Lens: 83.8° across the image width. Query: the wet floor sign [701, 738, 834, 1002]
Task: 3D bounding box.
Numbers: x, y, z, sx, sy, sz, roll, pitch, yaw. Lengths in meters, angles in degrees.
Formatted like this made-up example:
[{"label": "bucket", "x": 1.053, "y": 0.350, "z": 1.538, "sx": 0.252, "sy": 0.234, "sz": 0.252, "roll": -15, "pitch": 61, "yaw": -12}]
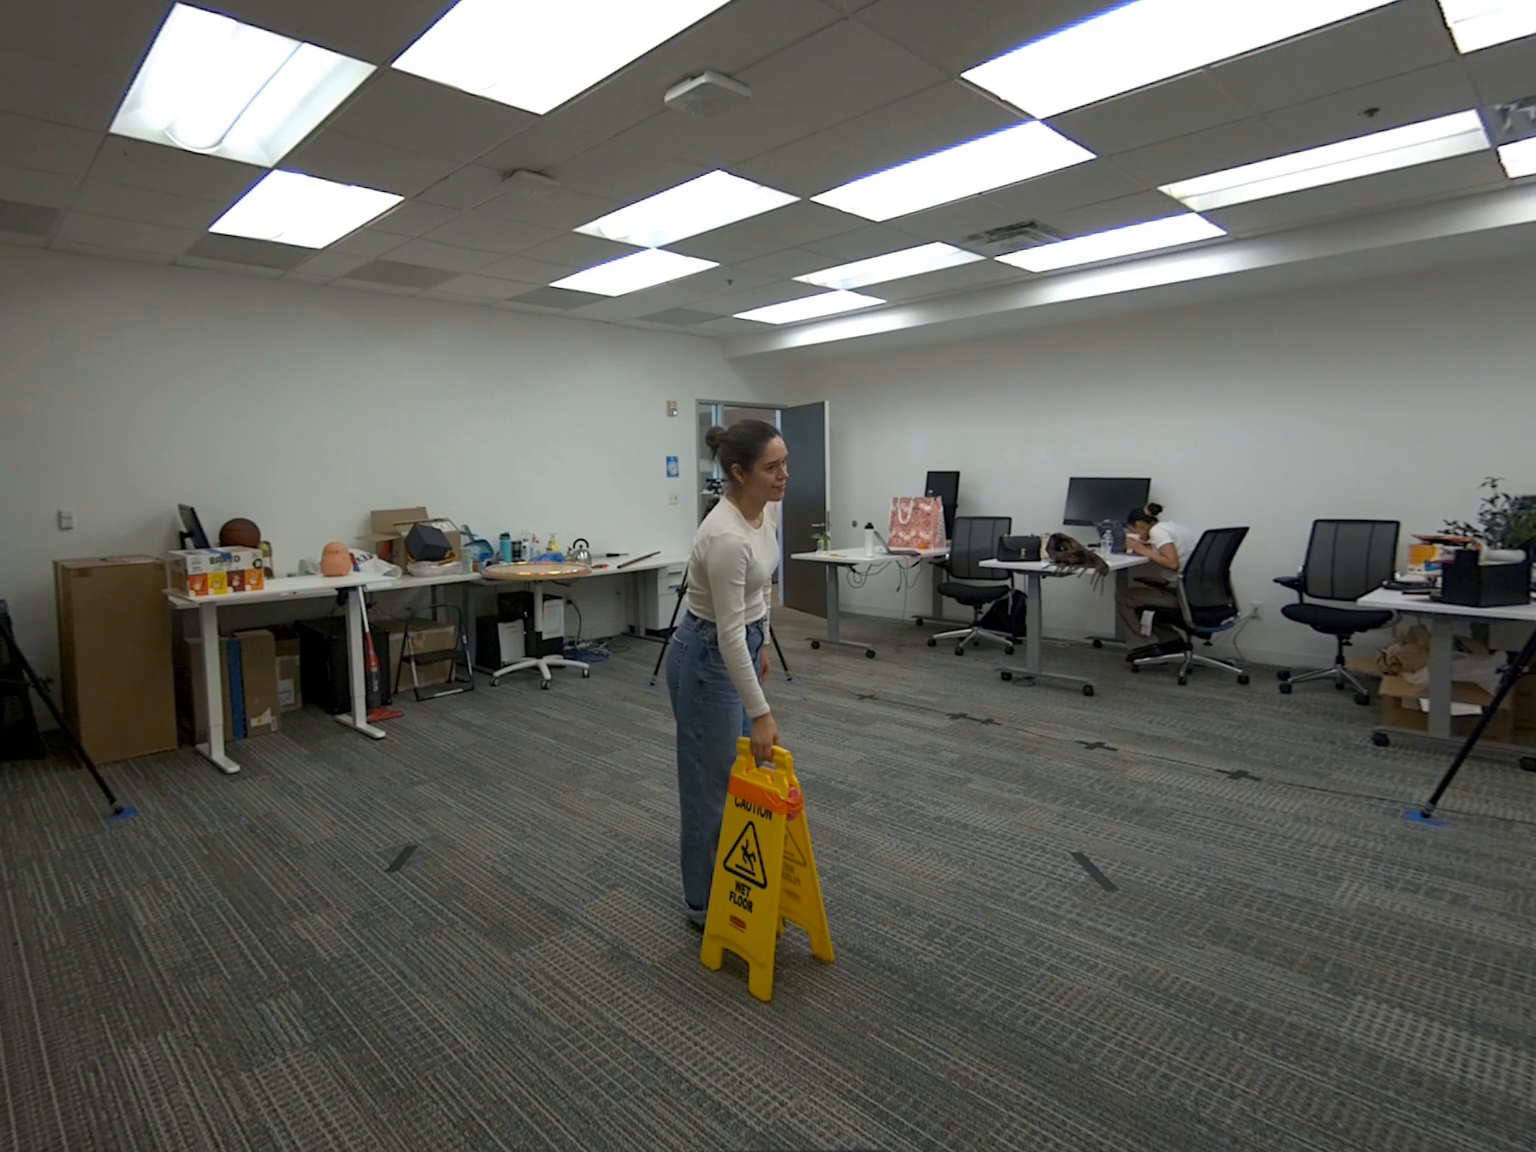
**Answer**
[{"label": "wet floor sign", "x": 0.000, "y": 0.798, "z": 2.451, "sx": 0.282, "sy": 0.643, "sz": 0.291, "roll": -4, "pitch": 6, "yaw": -44}]
